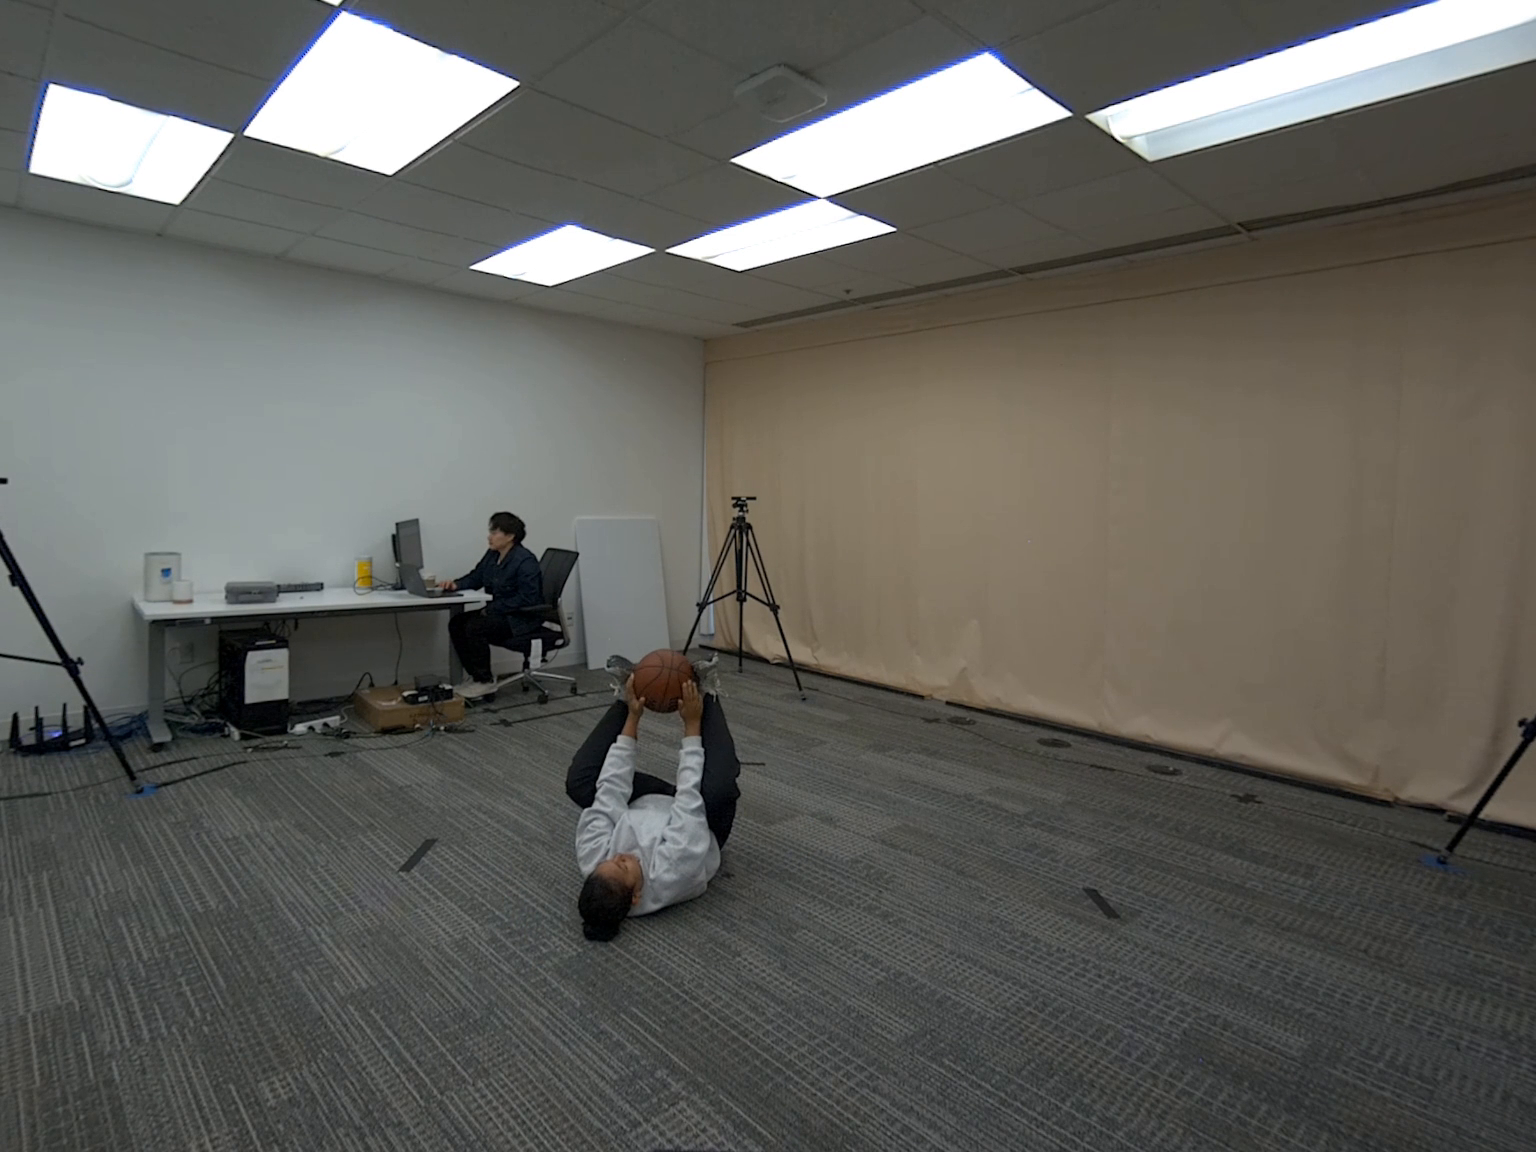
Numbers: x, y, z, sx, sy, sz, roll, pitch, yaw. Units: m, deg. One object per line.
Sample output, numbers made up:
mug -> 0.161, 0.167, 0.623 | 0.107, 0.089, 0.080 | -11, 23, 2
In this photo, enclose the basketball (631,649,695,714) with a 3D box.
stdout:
basketball -> -0.396, 0.395, 3.163 | 0.235, 0.235, 0.237 | 4, 7, -2
